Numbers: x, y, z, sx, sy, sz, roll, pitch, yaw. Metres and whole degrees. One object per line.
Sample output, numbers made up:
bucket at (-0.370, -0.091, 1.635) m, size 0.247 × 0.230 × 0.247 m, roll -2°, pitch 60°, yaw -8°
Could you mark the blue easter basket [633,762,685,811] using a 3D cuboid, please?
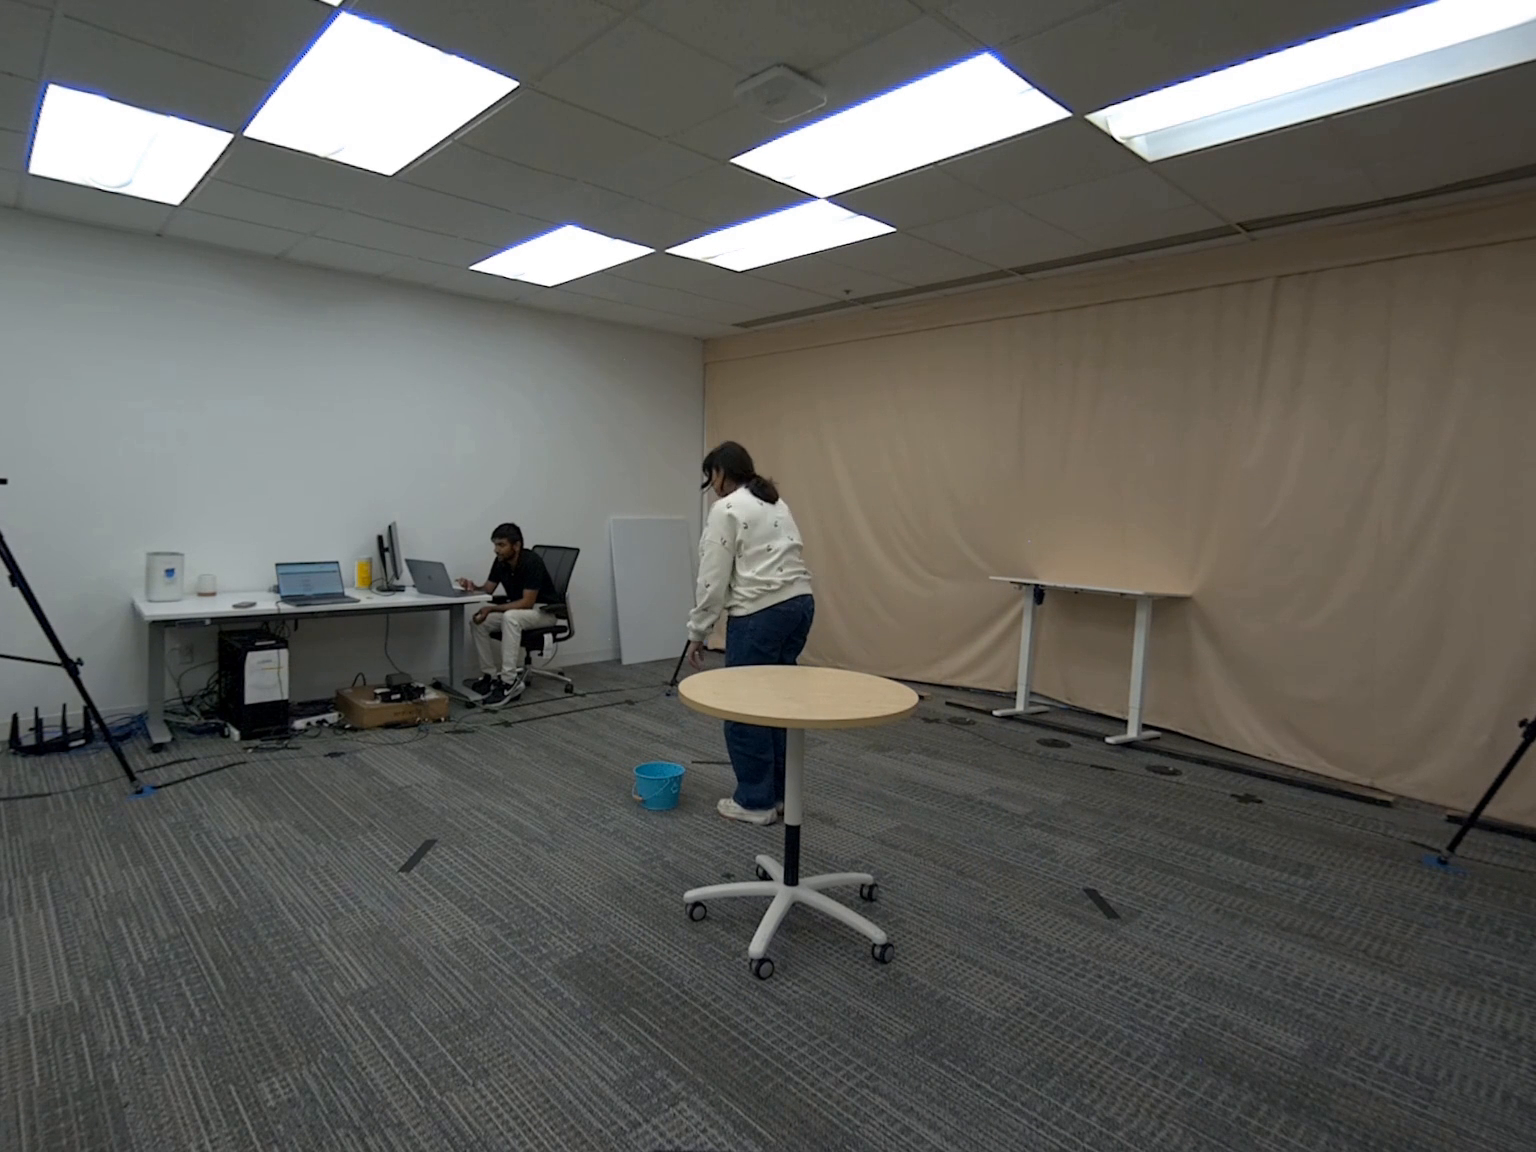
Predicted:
blue easter basket at (-0.503, 0.953, 3.840) m, size 0.243 × 0.155 × 0.245 m, roll 2°, pitch 6°, yaw -2°
